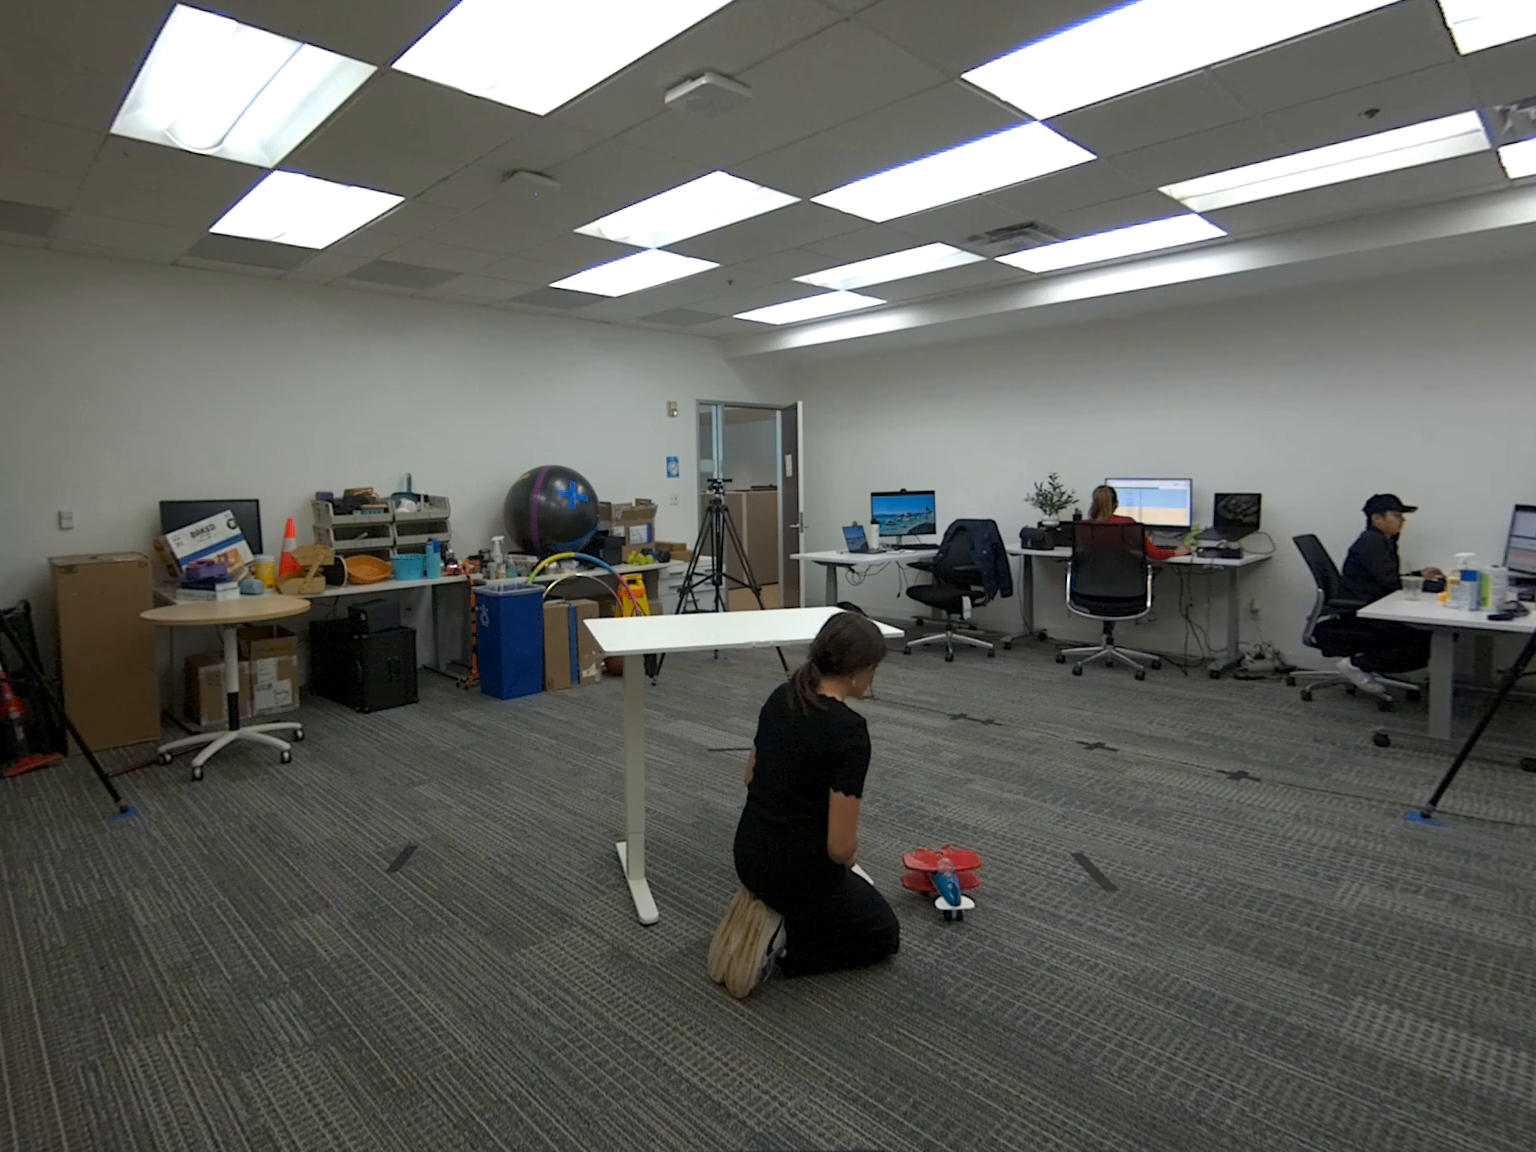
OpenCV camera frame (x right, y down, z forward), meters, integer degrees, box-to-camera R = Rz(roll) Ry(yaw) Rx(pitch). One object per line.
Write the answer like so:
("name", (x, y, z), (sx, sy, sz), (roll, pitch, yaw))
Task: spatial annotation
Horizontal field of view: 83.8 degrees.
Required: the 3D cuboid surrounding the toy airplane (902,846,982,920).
("toy airplane", (0.596, 0.996, 2.778), (0.245, 0.156, 0.266), (-4, 6, -32))
